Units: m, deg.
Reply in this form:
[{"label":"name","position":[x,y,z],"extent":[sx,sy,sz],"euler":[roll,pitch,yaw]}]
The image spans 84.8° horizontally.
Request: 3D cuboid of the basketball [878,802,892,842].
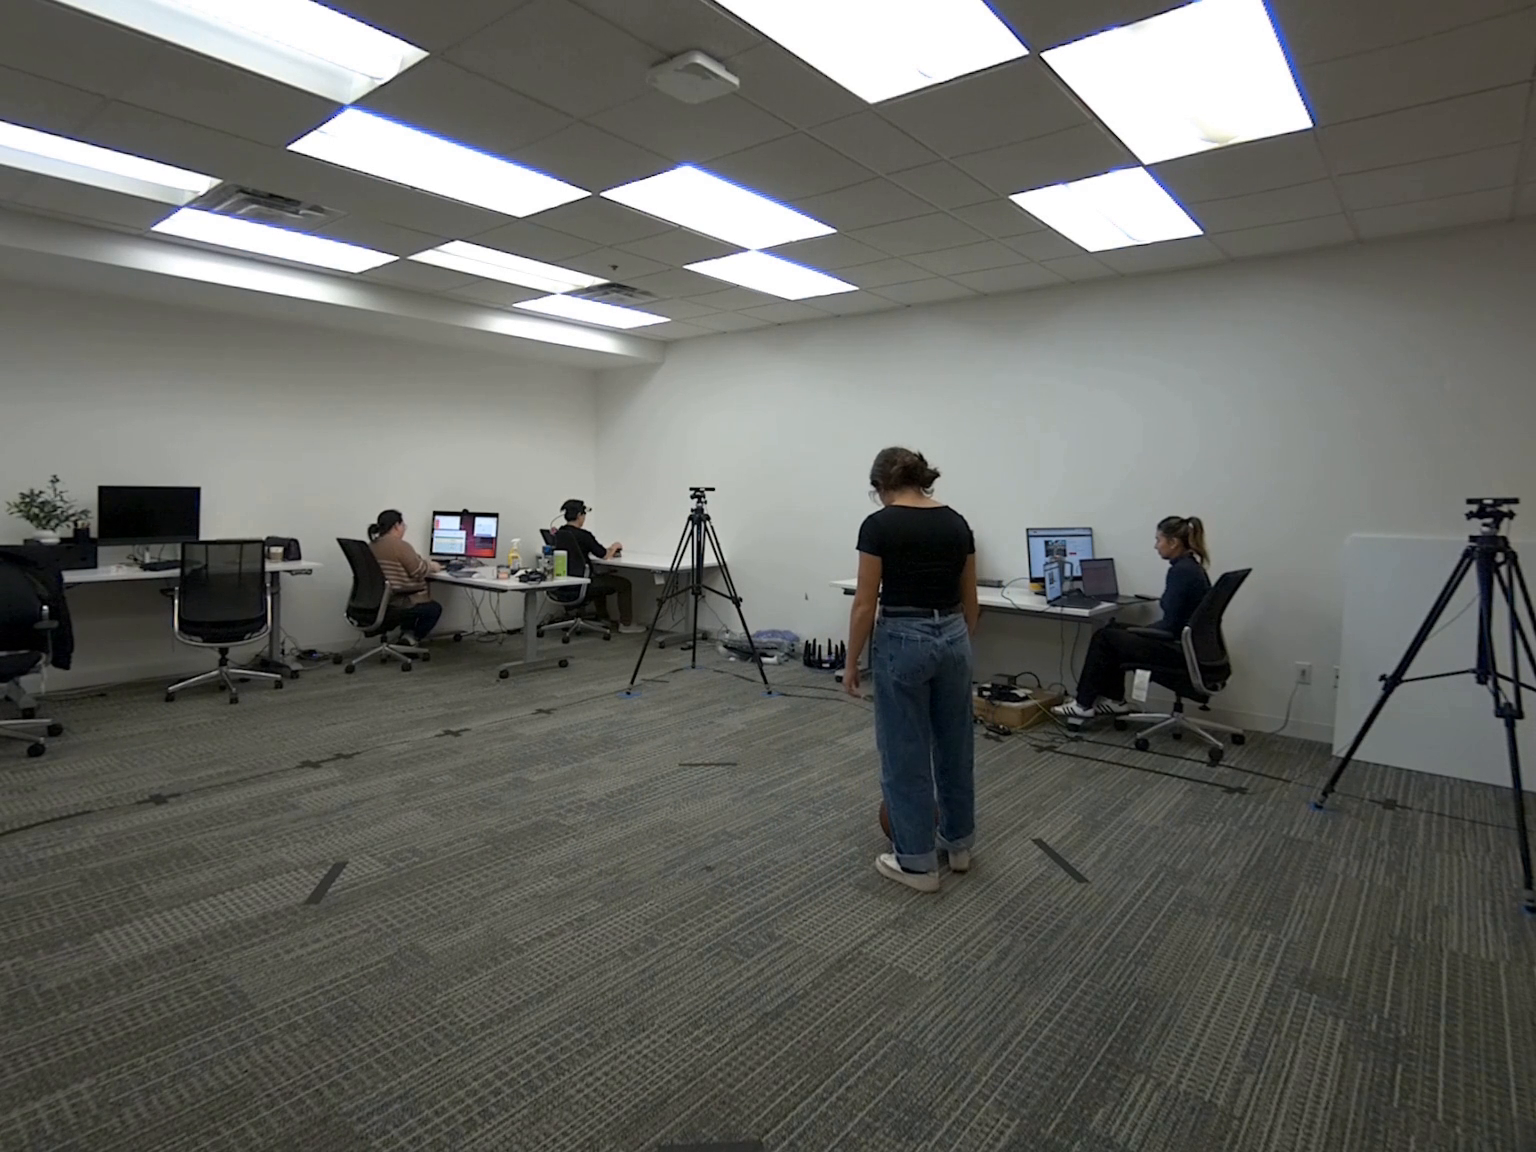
[{"label":"basketball","position":[0.552,0.934,3.334],"extent":[0.235,0.235,0.237],"euler":[1,4,-2]}]
